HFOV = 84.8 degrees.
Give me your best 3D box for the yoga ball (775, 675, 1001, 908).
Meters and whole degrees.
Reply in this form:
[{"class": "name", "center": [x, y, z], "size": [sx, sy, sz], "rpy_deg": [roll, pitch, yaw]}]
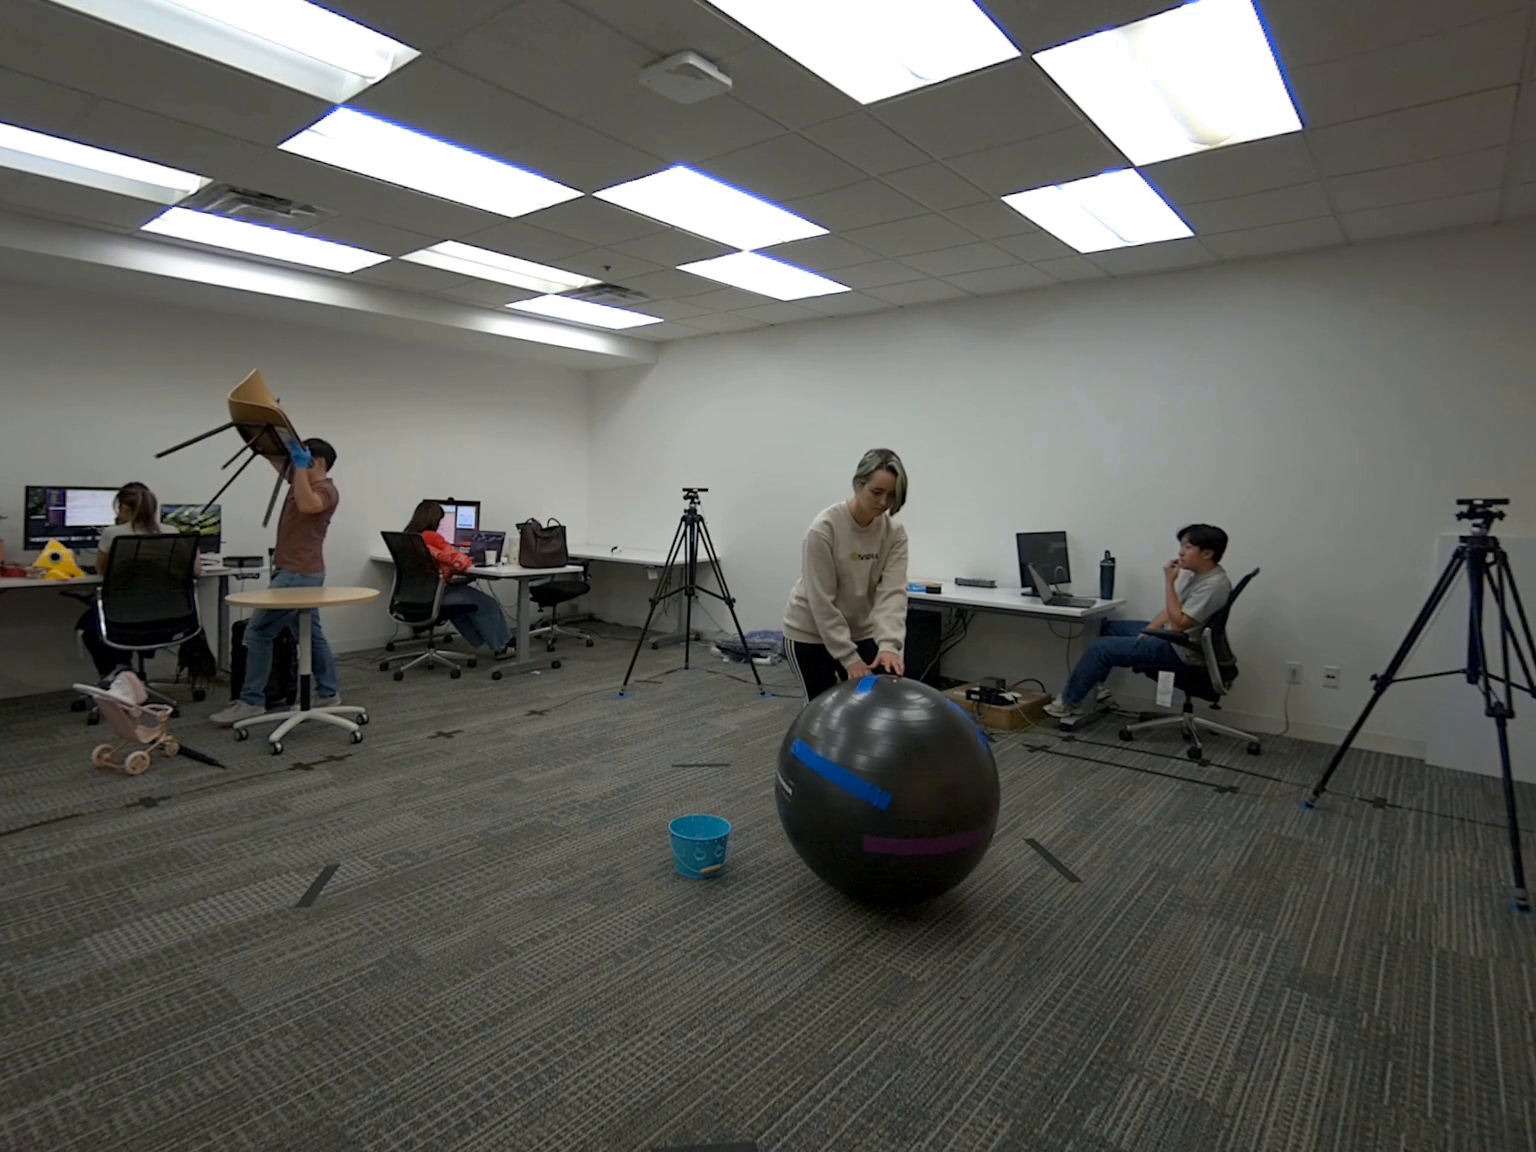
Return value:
[{"class": "yoga ball", "center": [0.402, 0.730, 2.933], "size": [0.757, 0.755, 0.762], "rpy_deg": [1, 4, -2]}]
